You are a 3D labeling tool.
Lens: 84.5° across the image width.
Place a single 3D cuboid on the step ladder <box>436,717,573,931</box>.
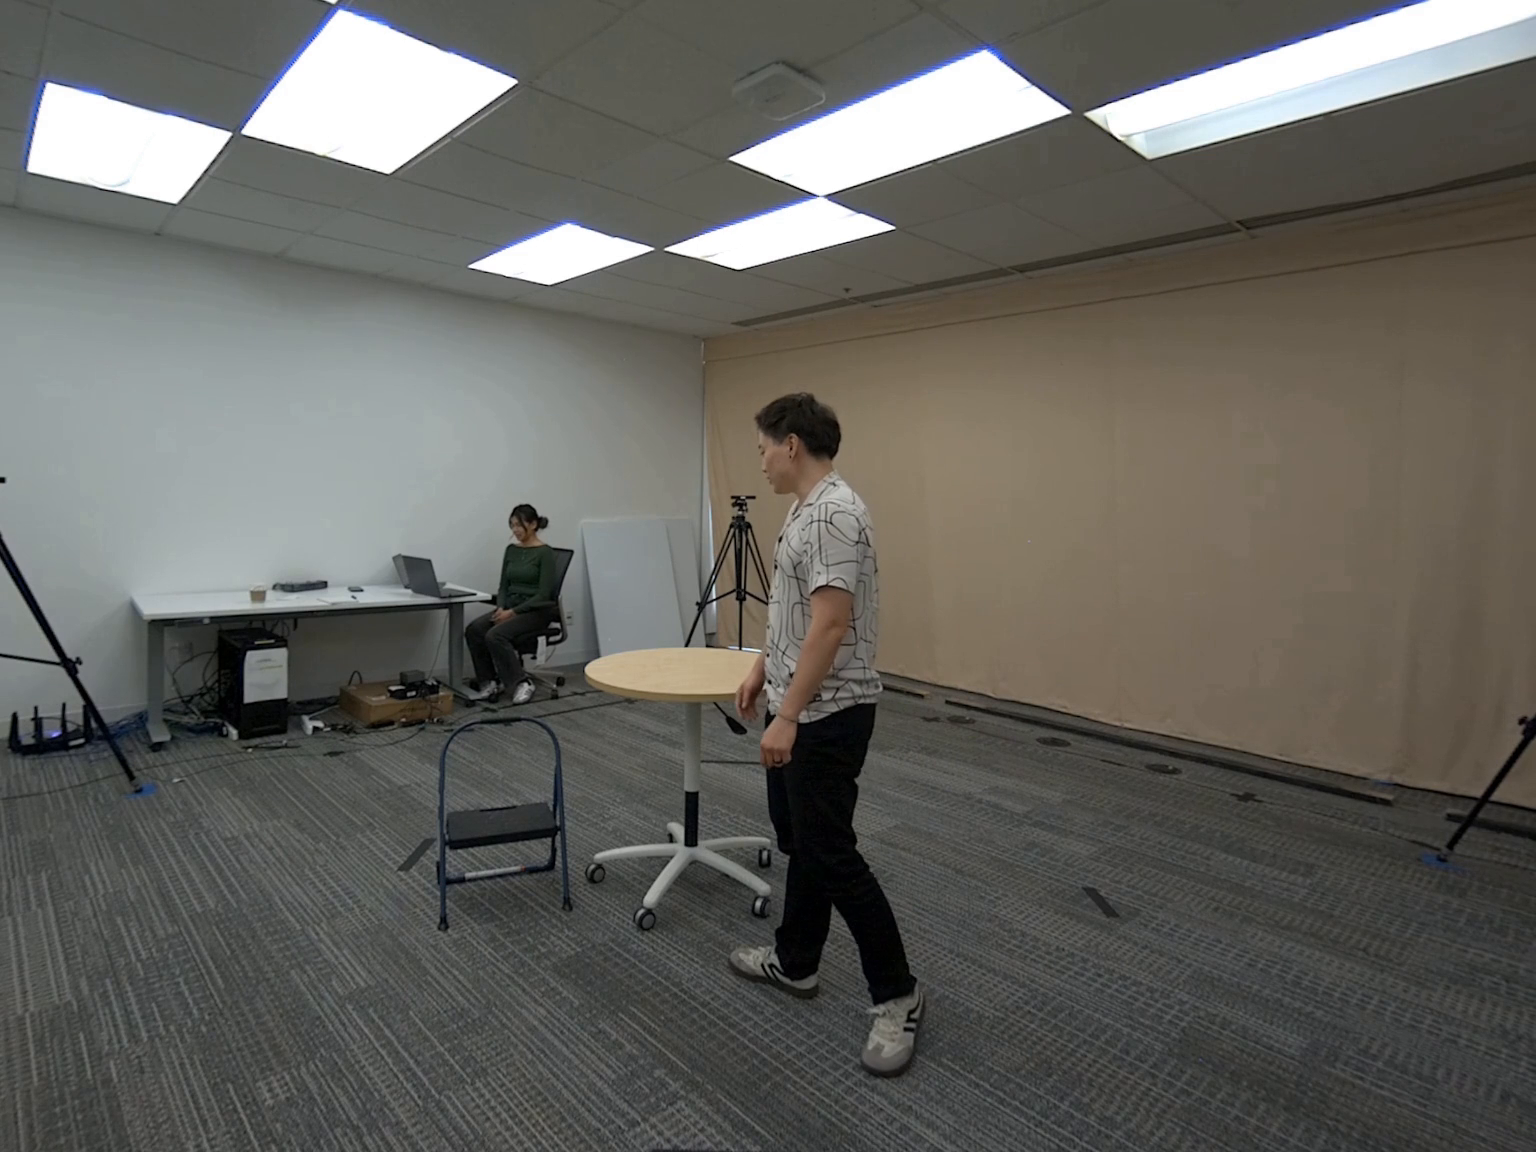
[{"bbox_3d":[-0.916,0.807,2.881,0.423,0.604,0.356,-1,4,-23],"label":"step ladder"}]
